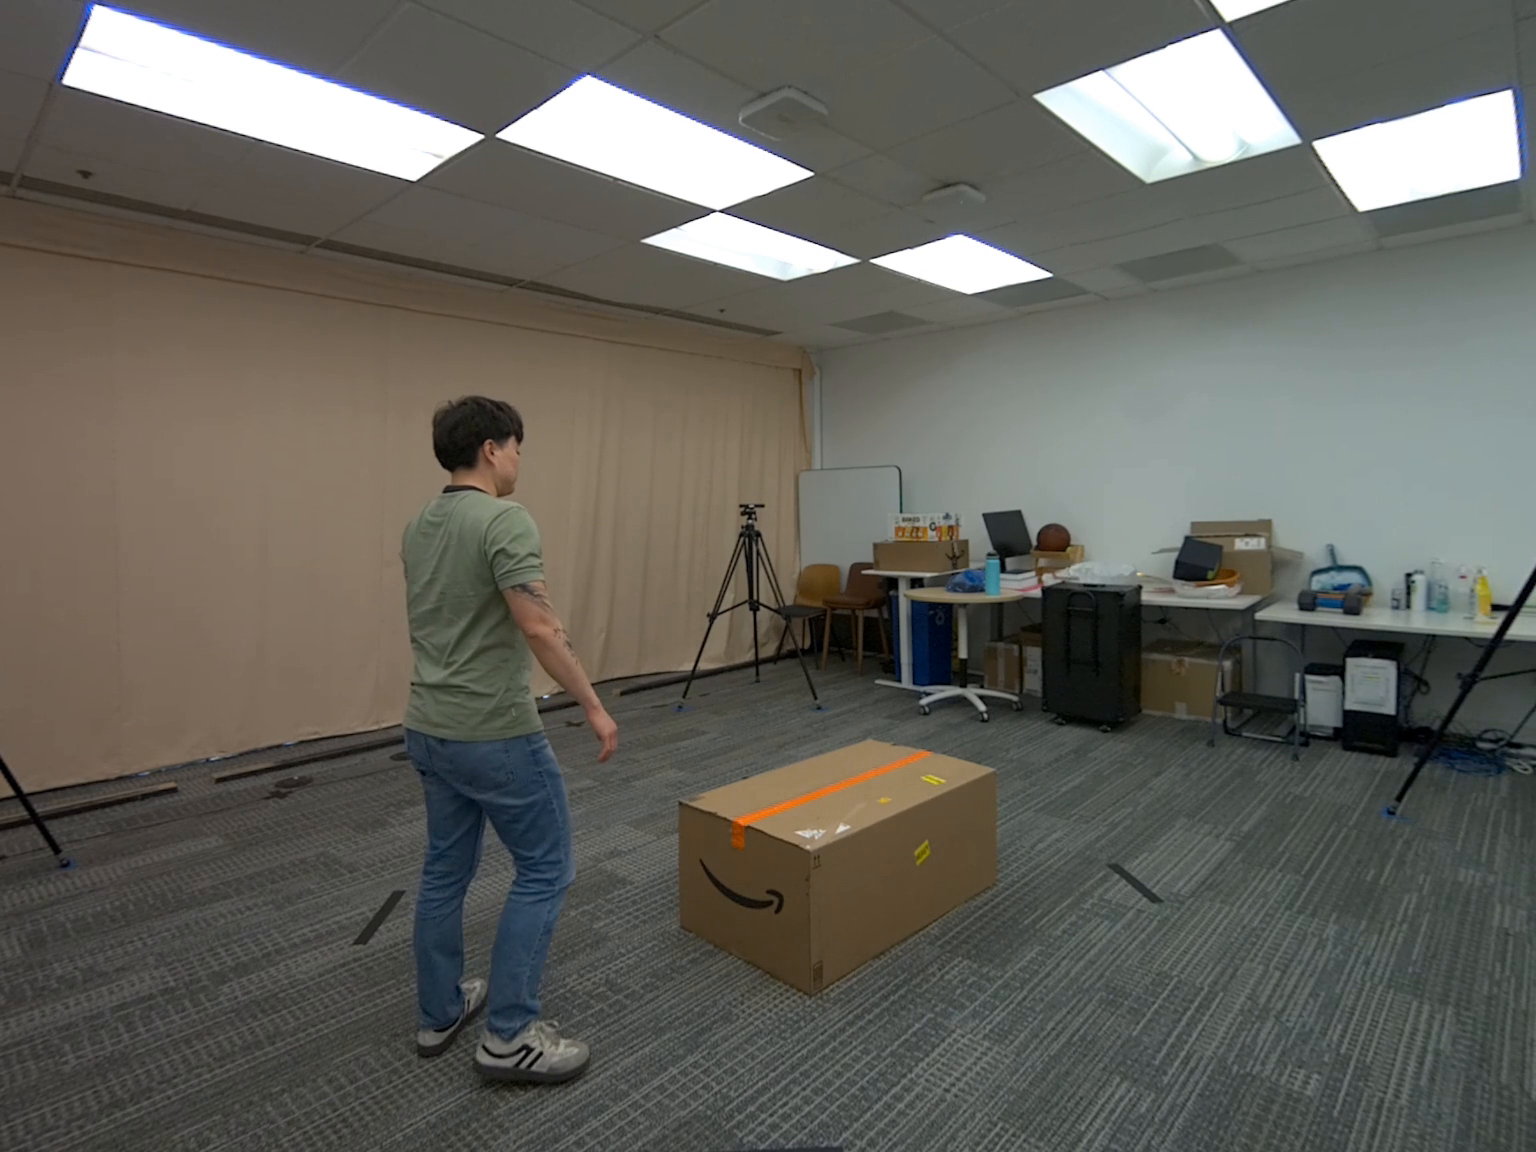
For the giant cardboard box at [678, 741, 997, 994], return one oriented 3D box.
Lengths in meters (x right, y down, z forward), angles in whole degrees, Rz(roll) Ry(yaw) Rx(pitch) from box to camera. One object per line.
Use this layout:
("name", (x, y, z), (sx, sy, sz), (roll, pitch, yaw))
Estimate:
("giant cardboard box", (0.270, 0.928, 2.912), (0.995, 0.425, 0.597), (-5, 7, -44))
